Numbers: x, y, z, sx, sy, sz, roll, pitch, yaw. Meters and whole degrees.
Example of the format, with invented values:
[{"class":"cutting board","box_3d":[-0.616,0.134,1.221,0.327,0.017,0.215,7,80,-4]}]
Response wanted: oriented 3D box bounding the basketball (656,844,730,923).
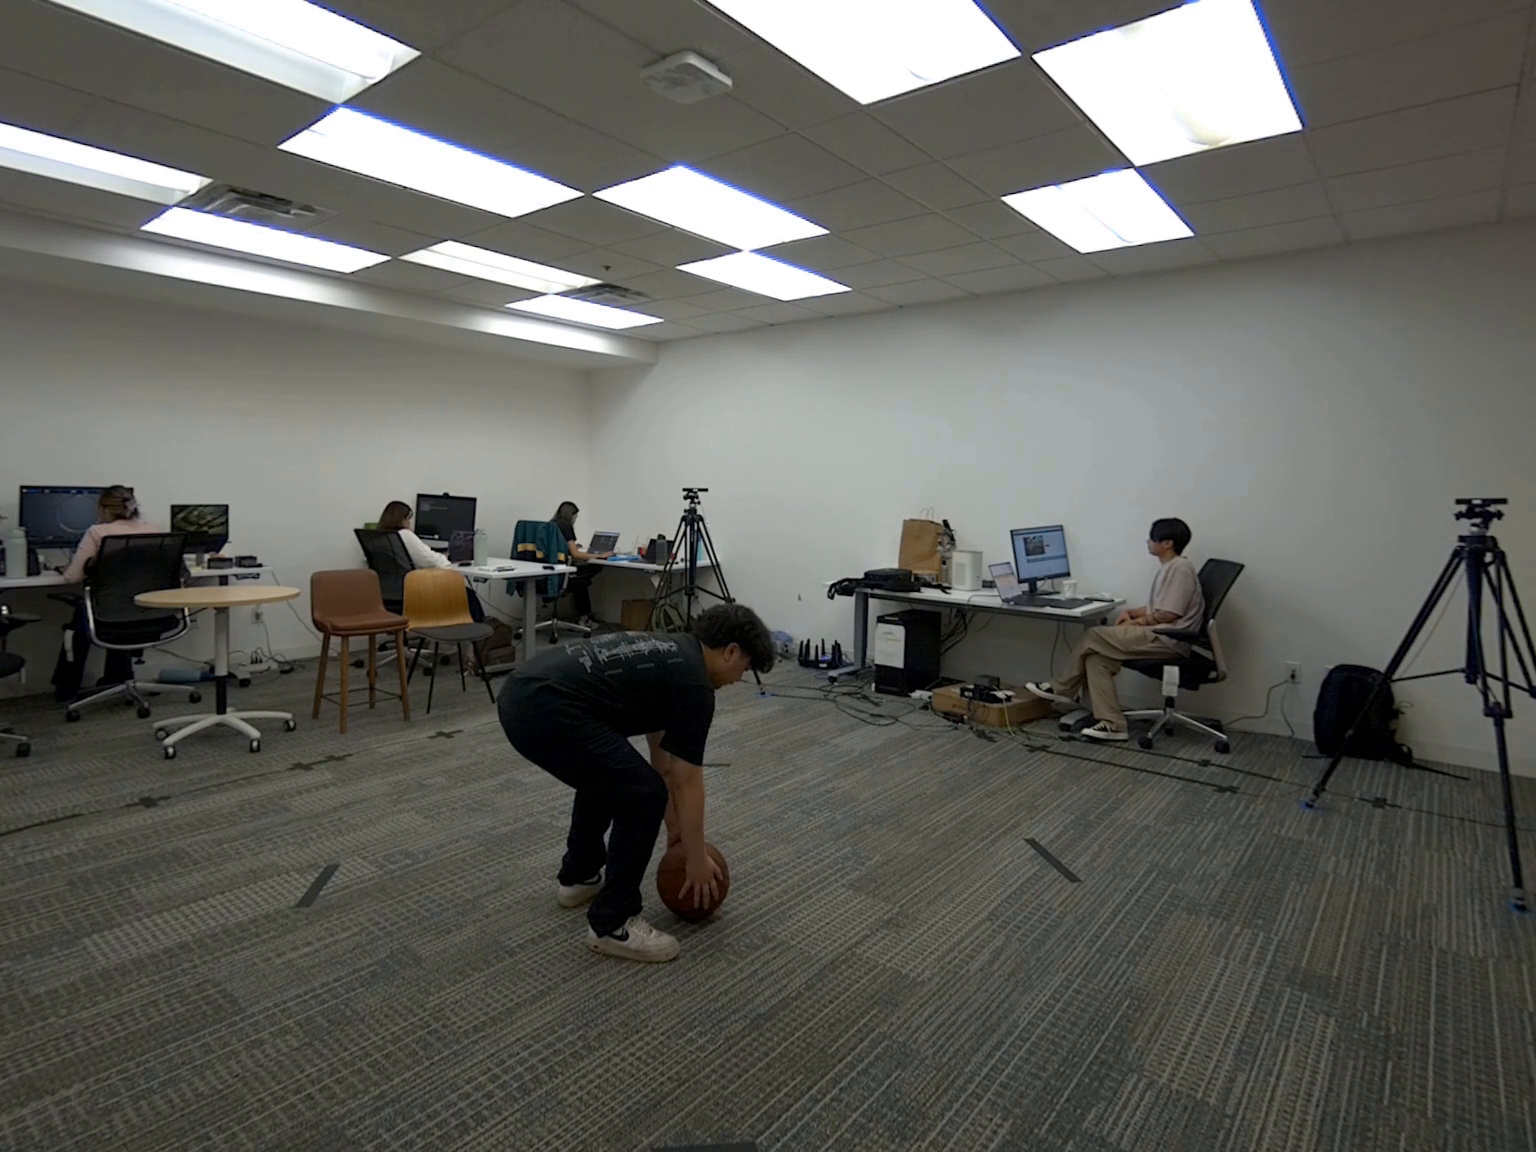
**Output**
[{"class":"basketball","box_3d":[-0.258,0.974,2.766,0.235,0.235,0.237,1,4,-2]}]
